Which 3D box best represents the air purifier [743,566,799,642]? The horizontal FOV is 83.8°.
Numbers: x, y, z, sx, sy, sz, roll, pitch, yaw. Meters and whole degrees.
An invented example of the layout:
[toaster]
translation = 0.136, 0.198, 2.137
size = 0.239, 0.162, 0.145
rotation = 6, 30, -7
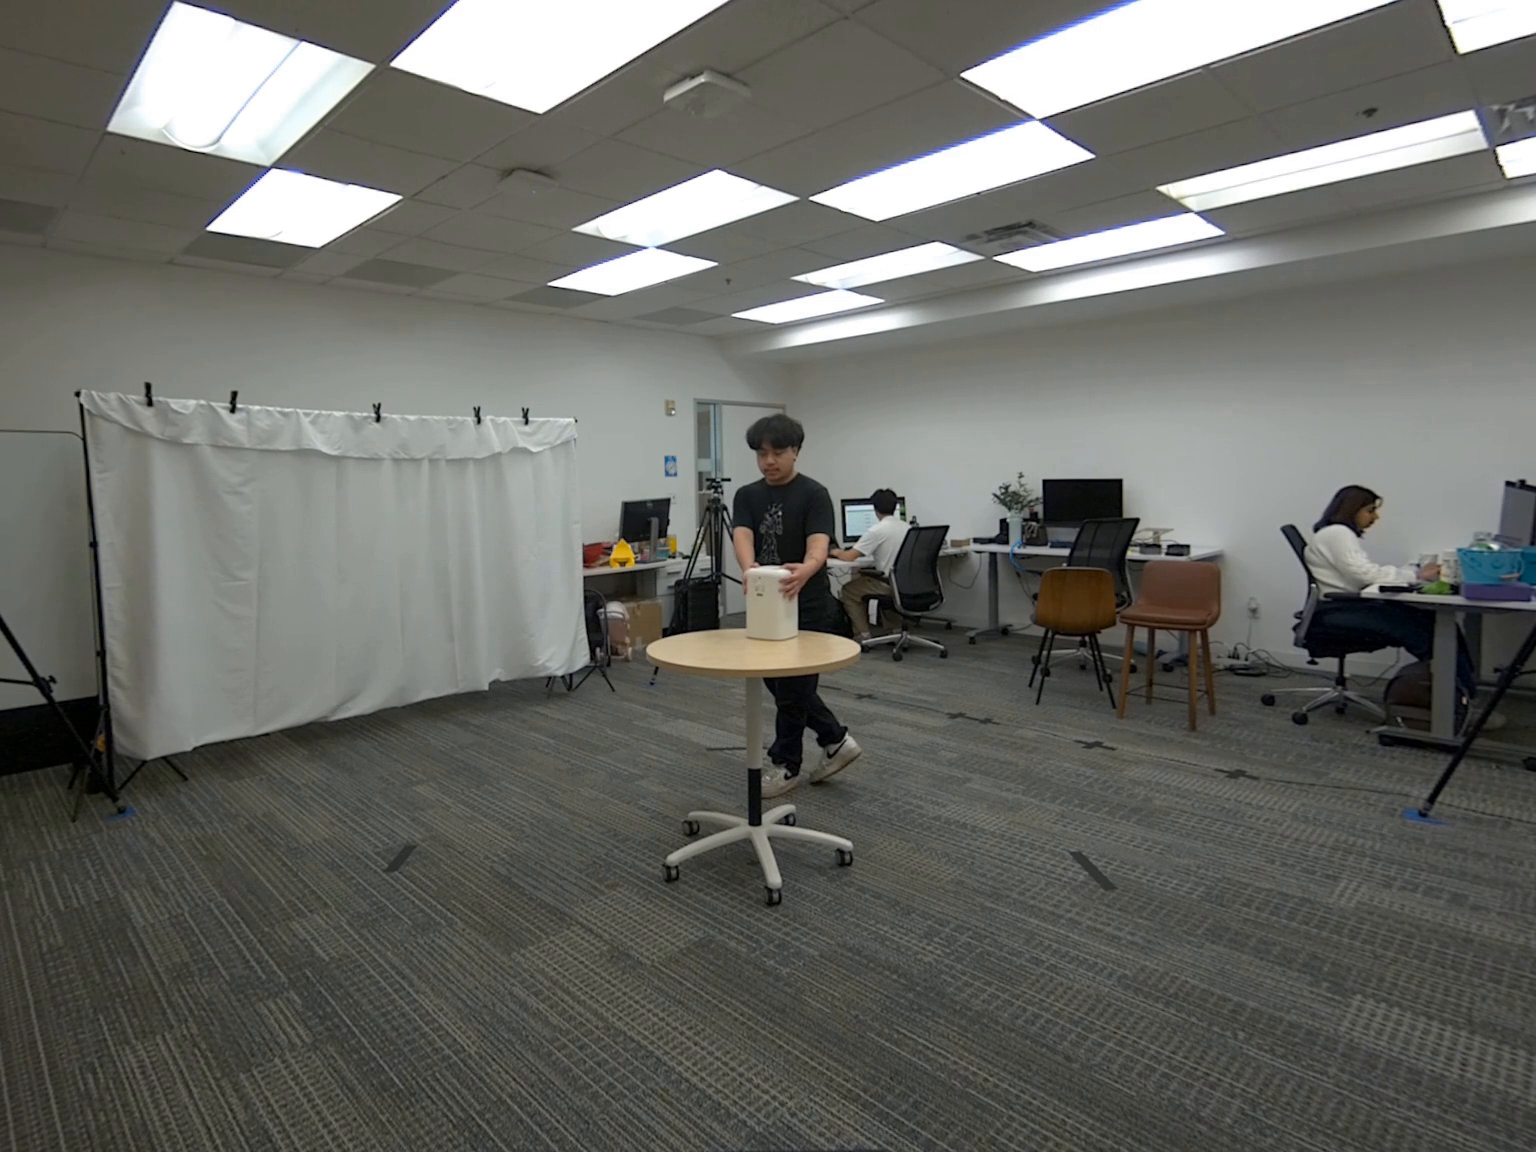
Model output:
[air purifier]
translation = 0.015, 0.103, 3.260
size = 0.176, 0.265, 0.167
rotation = 2, 4, 36
